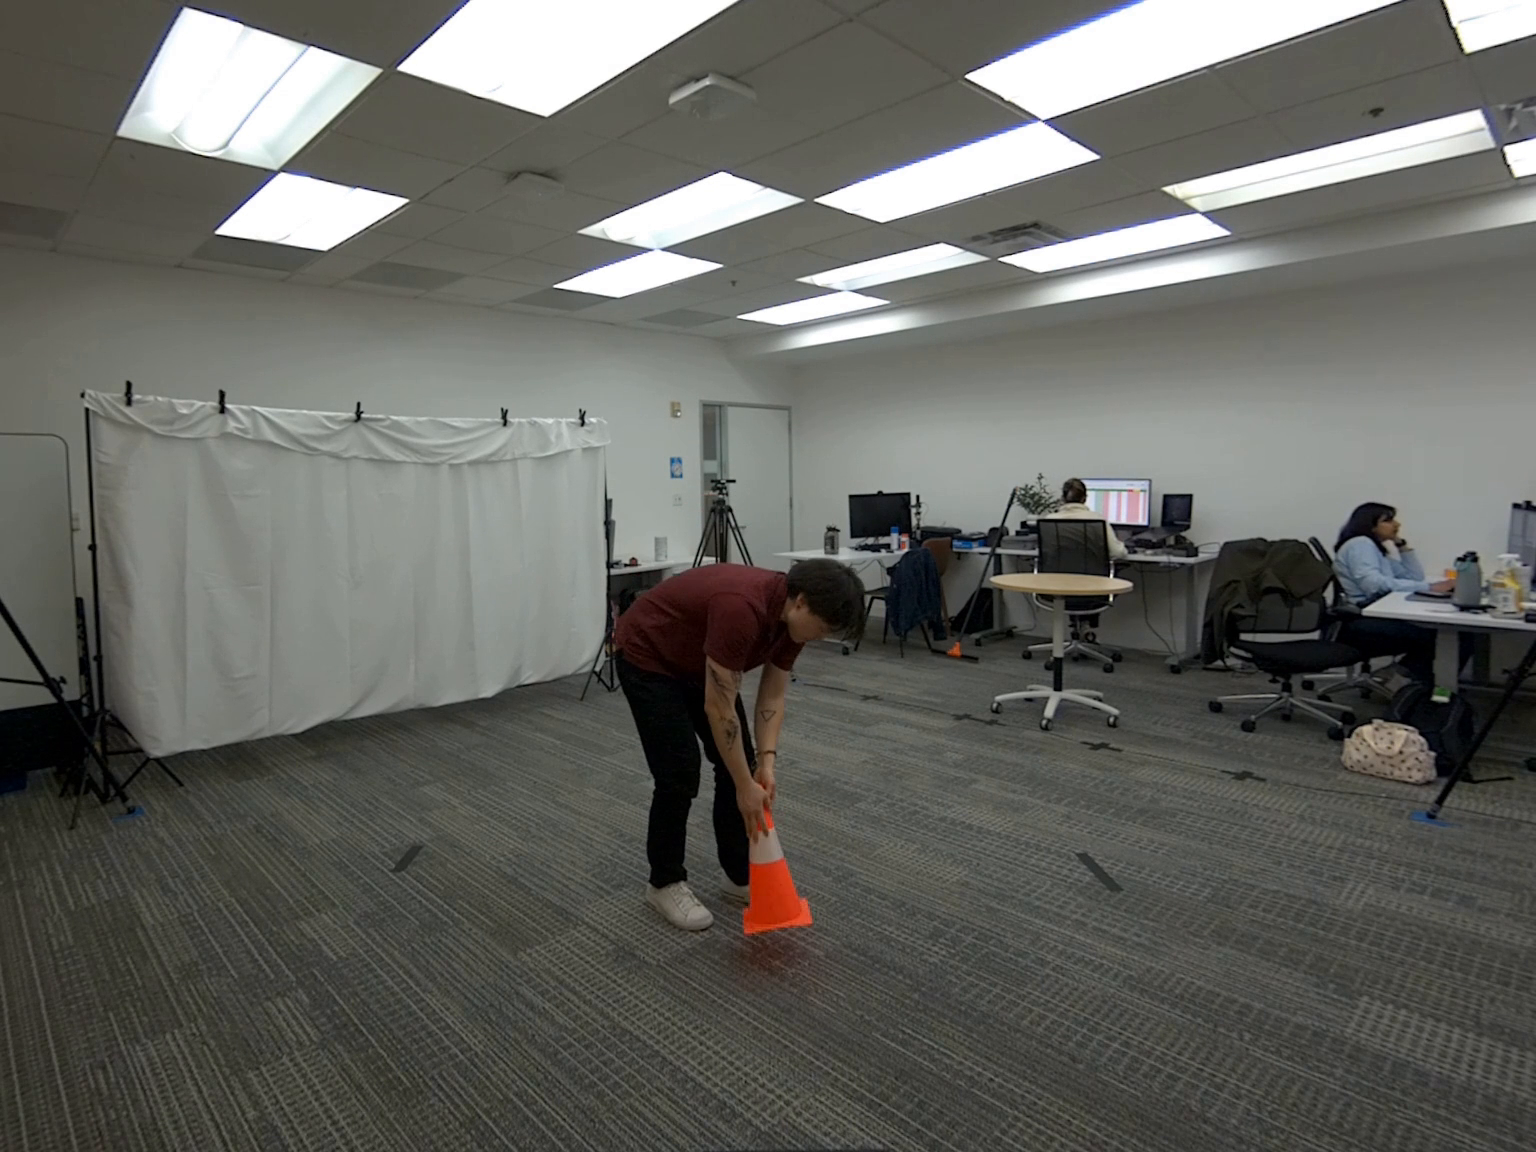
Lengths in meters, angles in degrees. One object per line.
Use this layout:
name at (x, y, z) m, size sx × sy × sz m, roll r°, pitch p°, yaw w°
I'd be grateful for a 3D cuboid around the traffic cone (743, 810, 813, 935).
traffic cone at (-0.004, 0.819, 2.540) m, size 0.203 × 0.385 × 0.204 m, roll -11°, pitch -3°, yaw -1°
